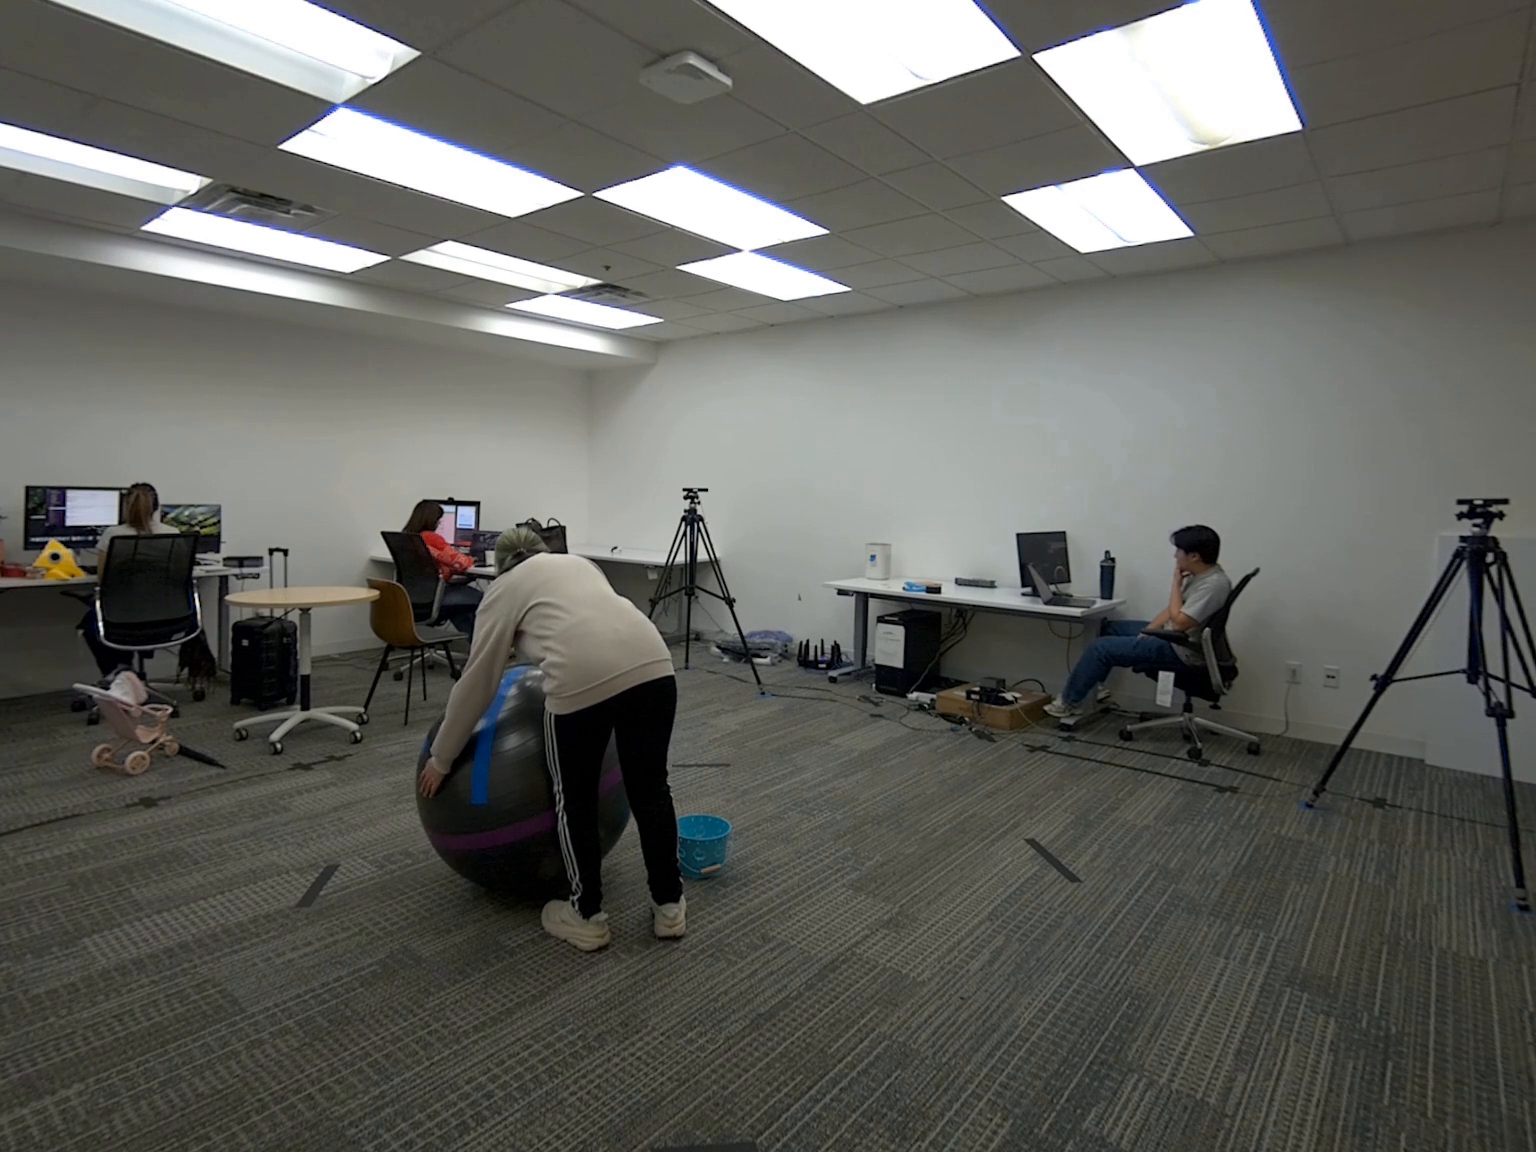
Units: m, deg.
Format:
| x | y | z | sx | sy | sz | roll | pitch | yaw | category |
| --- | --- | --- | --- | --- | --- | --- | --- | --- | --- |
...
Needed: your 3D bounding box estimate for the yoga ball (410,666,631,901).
| x | y | z | sx | sy | sz | roll | pitch | yaw | category |
| --- | --- | --- | --- | --- | --- | --- | --- | --- | --- |
| -0.846 | 0.704 | 2.962 | 0.757 | 0.755 | 0.762 | 1 | 4 | -2 | yoga ball |
